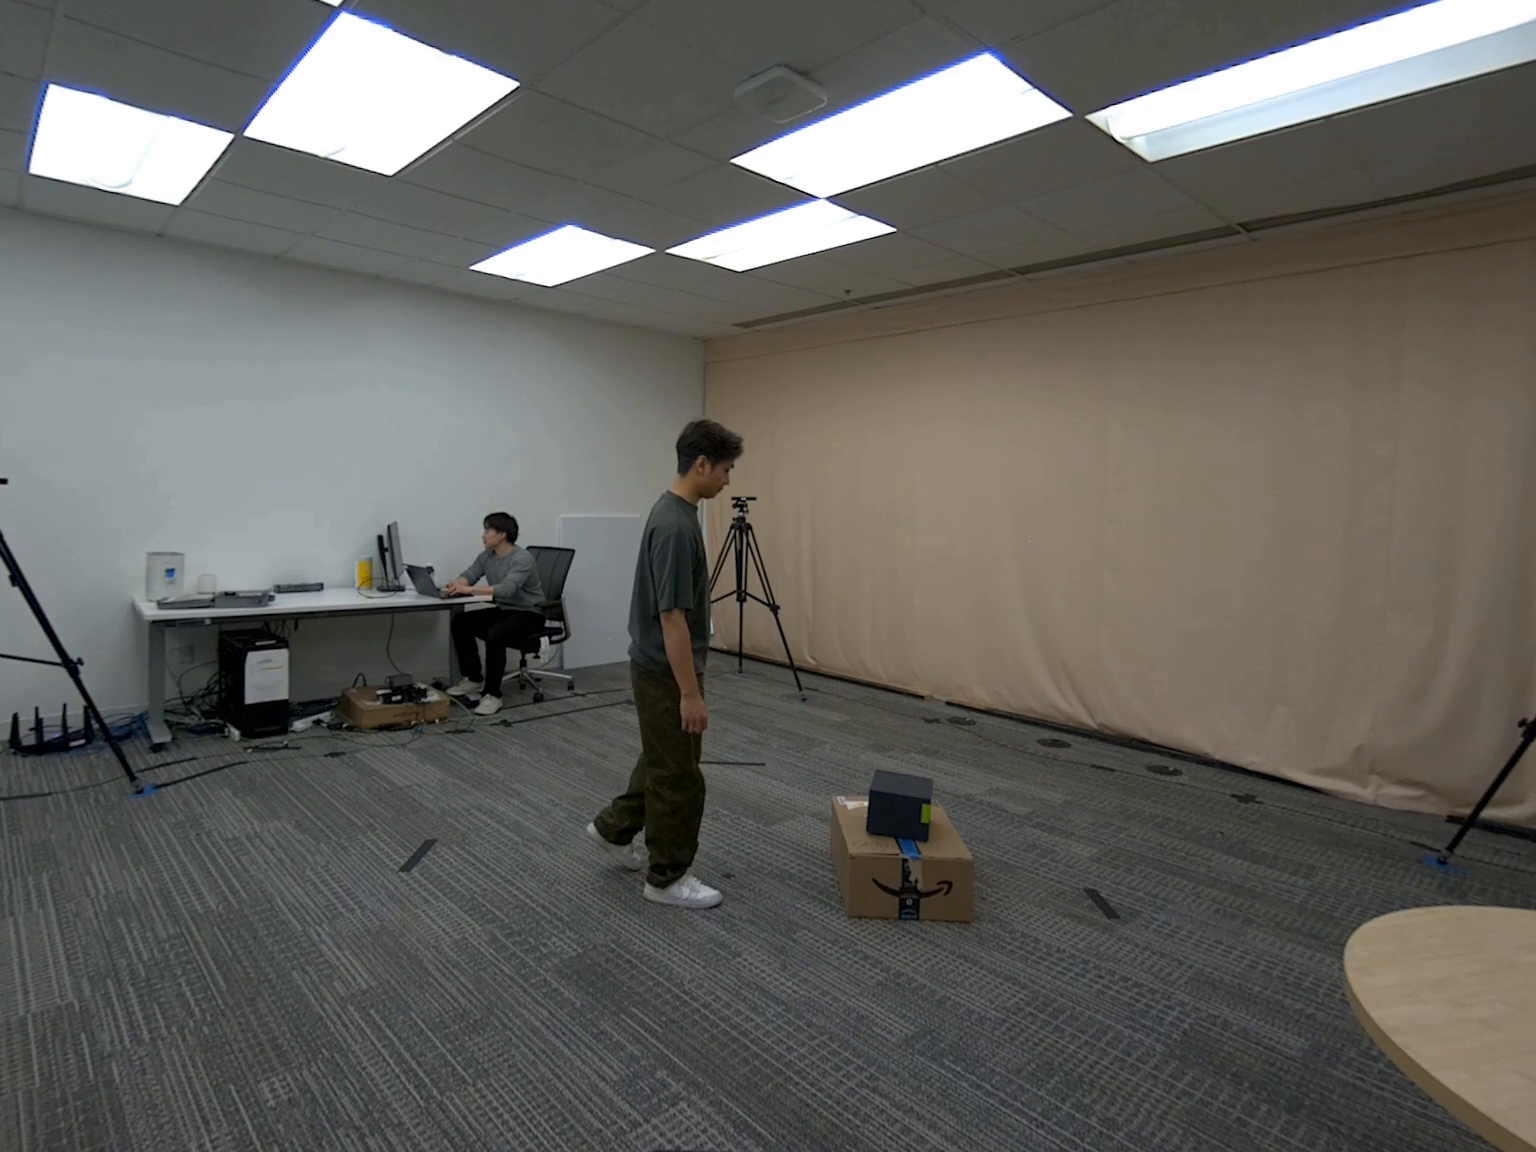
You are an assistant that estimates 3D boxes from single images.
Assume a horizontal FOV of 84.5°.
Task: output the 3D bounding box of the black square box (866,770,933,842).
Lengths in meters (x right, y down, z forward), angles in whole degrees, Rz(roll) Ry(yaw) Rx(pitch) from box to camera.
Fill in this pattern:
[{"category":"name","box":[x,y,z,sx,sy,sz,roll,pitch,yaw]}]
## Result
[{"category":"black square box","box":[0.472,0.827,3.049,0.219,0.155,0.226,5,6,13]}]
